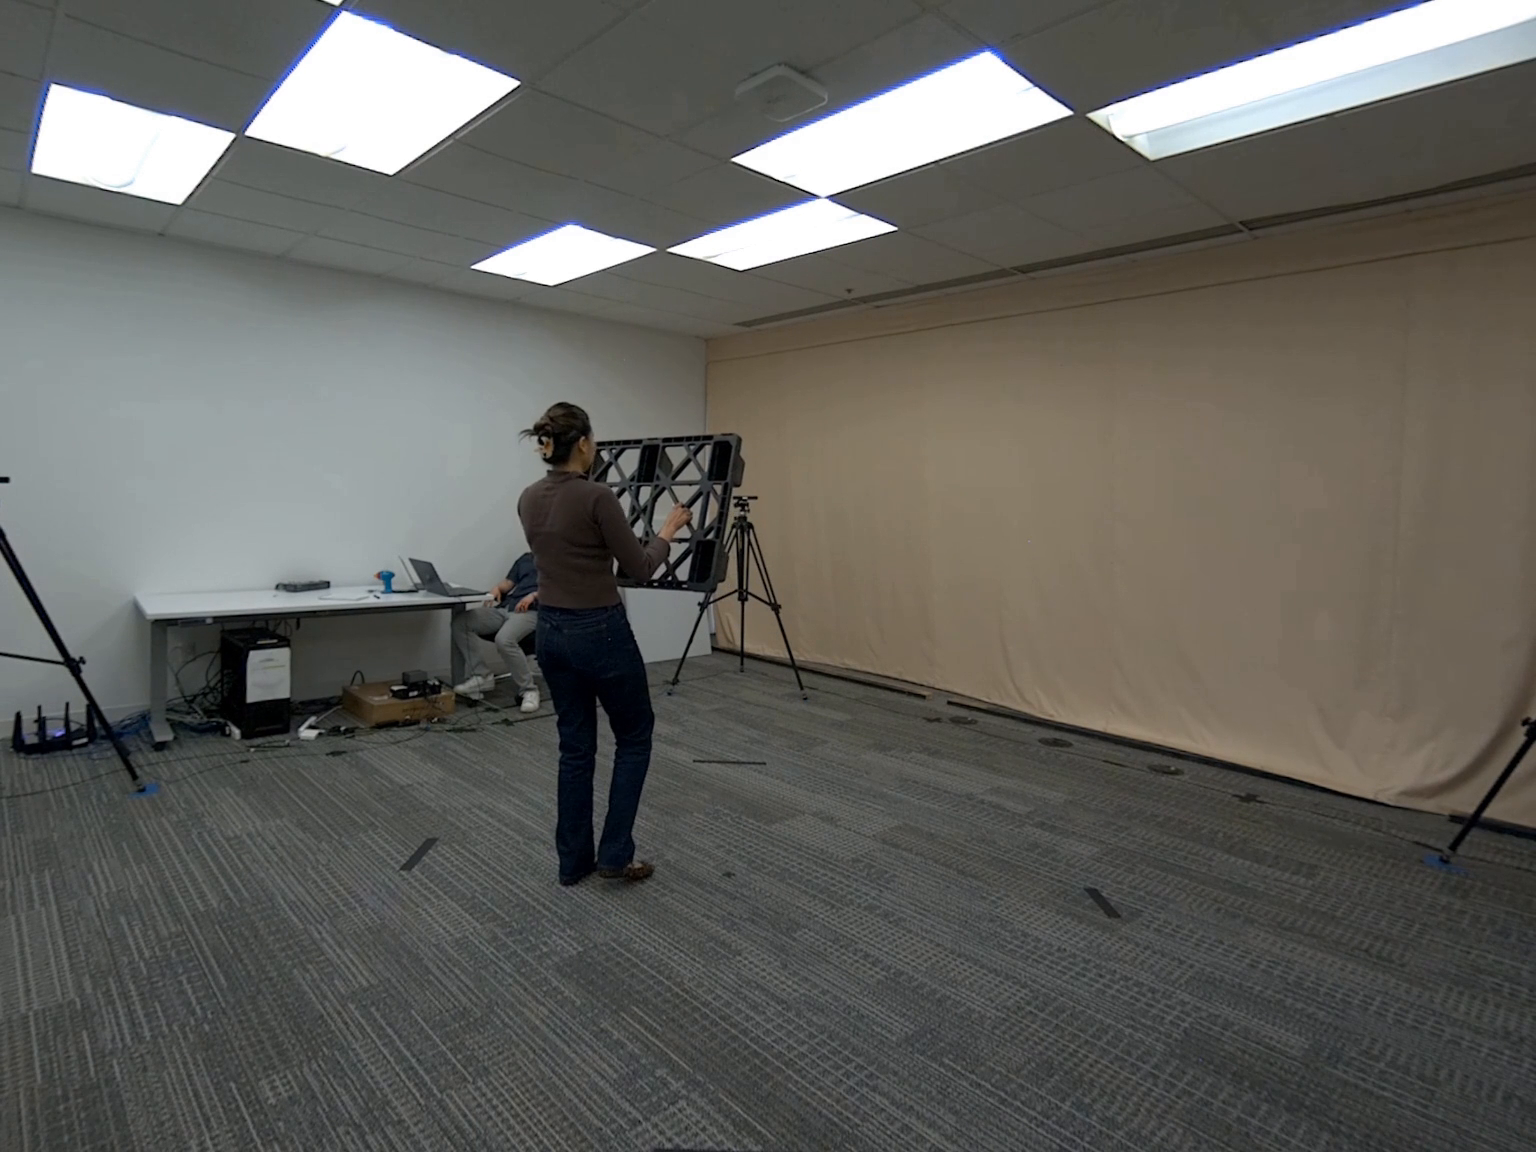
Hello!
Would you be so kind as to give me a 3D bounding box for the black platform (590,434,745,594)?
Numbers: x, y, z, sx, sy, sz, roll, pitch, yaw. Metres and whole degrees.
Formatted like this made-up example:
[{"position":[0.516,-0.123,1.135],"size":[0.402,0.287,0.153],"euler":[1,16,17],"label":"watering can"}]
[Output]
[{"position":[-0.475,-0.242,3.292],"size":[0.823,0.610,0.139],"euler":[2,-15,32],"label":"black platform"}]
